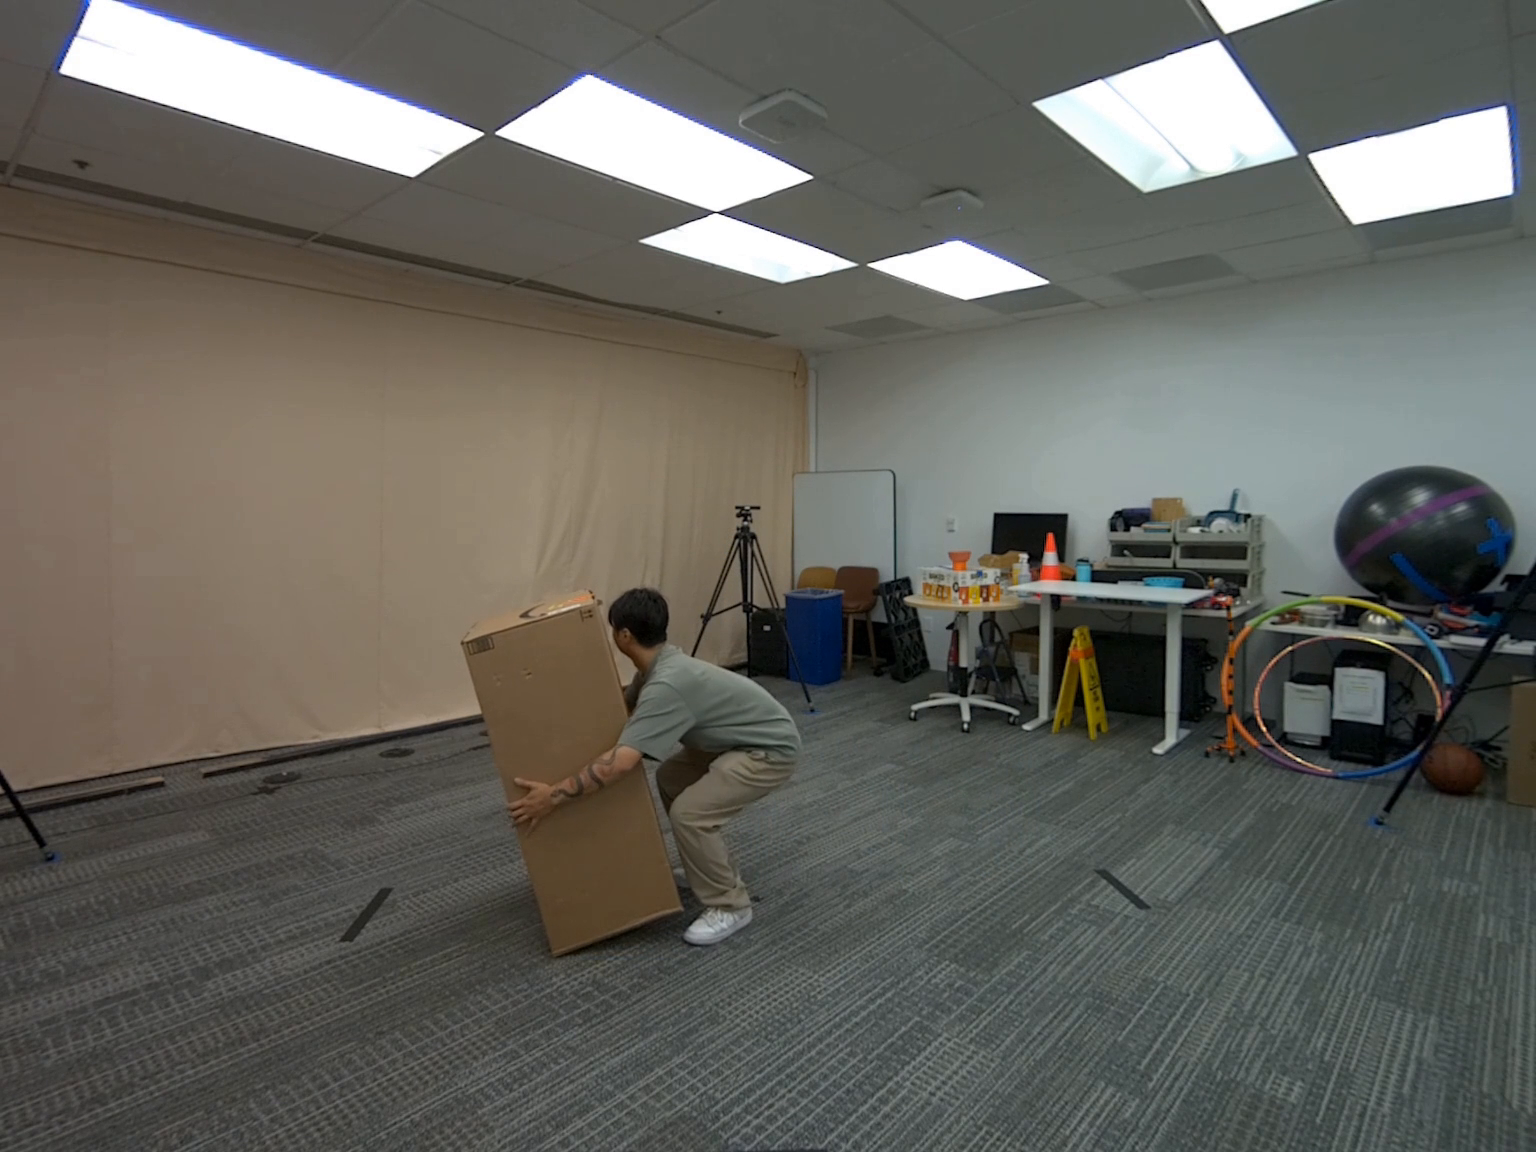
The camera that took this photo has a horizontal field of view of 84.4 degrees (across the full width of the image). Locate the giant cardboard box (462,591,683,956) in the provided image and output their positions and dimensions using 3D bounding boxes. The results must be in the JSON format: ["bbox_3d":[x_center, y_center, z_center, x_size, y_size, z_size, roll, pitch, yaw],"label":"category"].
[{"bbox_3d":[-0.680,0.614,2.882,0.422,1.022,0.585,-15,5,-11],"label":"giant cardboard box"}]
